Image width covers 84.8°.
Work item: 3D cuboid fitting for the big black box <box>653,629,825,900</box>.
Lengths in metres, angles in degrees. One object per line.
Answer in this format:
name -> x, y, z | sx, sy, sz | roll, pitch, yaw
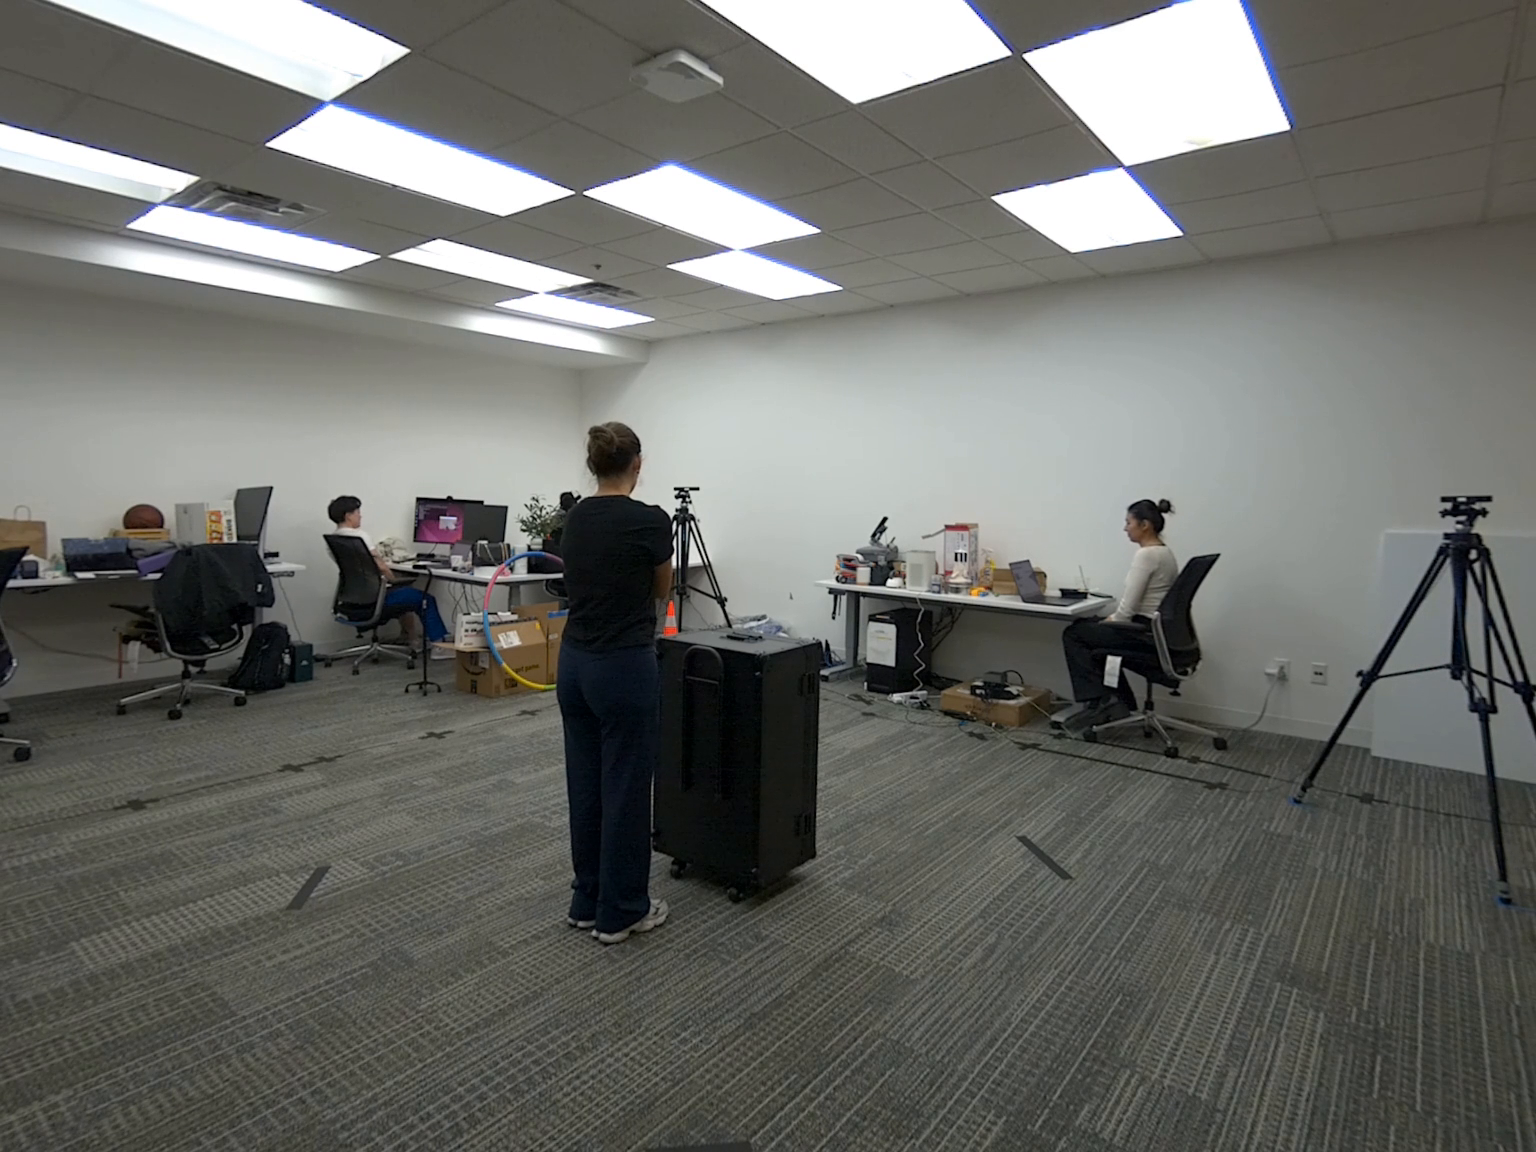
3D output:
big black box -> -0.107, 0.591, 3.061 | 0.539, 0.859, 0.384 | 4, 4, 38
